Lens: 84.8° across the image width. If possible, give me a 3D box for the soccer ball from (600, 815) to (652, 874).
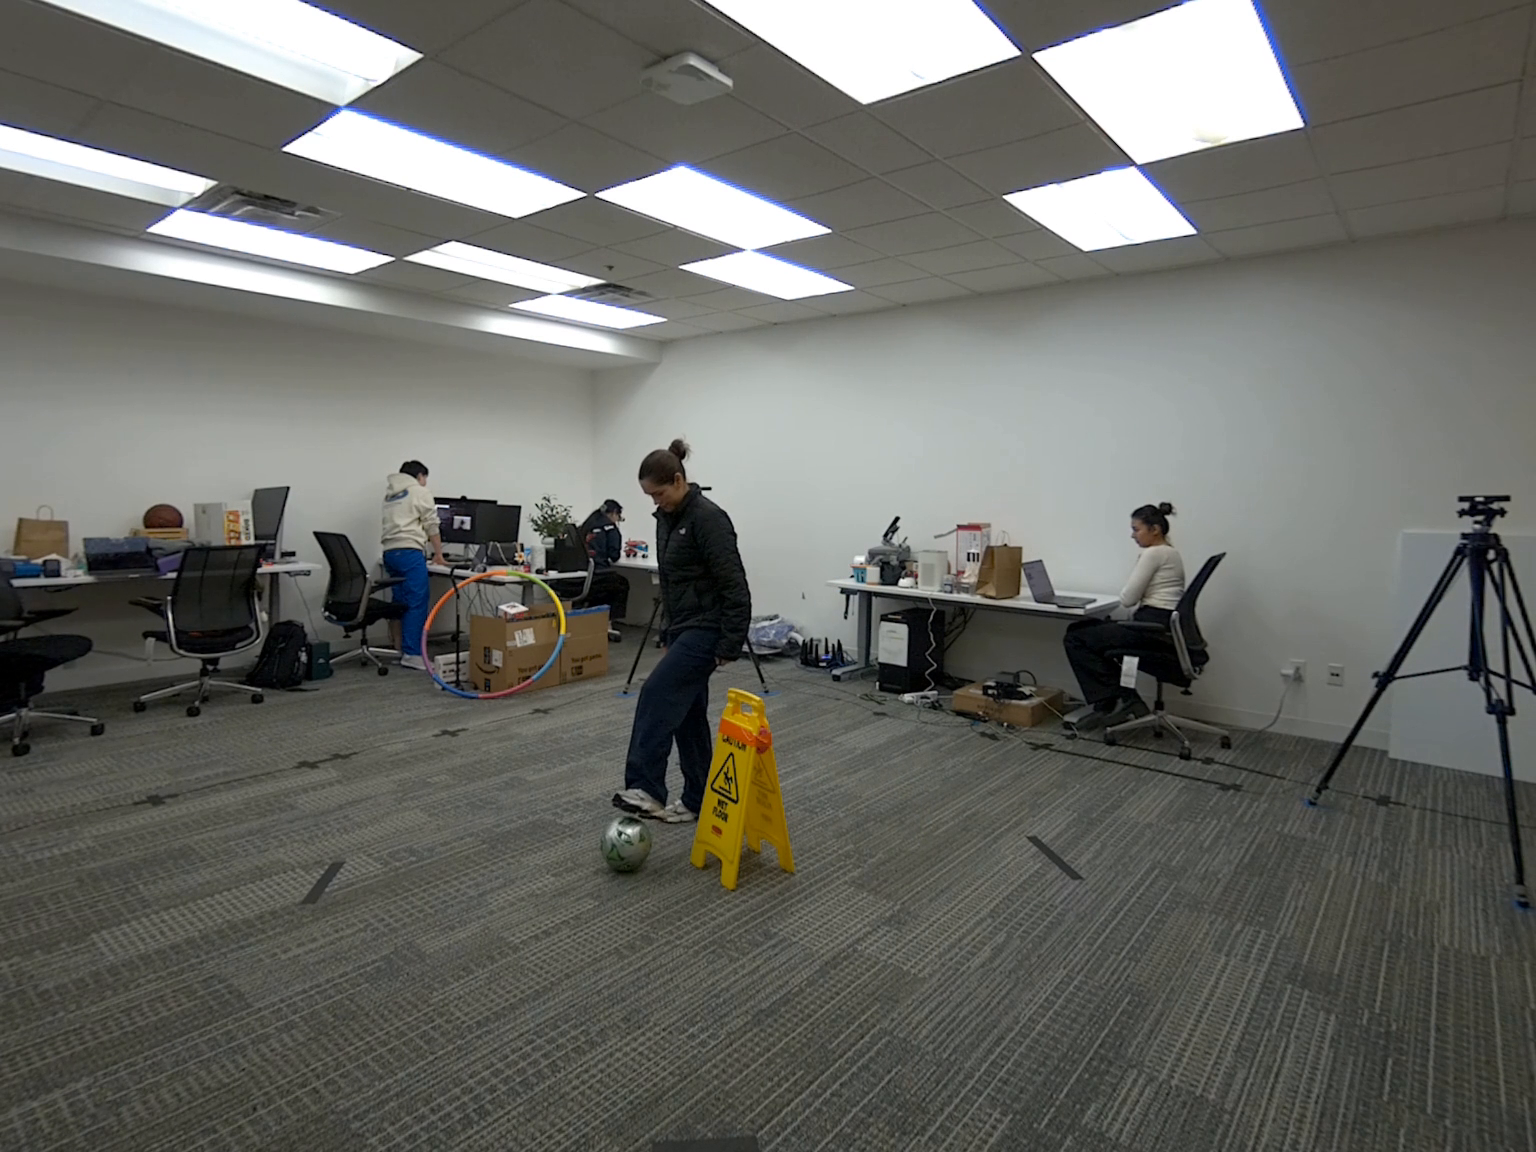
[{"bbox_3d":[-0.527,0.971,3.098,0.187,0.187,0.188,1,4,-2],"label":"soccer ball"}]
